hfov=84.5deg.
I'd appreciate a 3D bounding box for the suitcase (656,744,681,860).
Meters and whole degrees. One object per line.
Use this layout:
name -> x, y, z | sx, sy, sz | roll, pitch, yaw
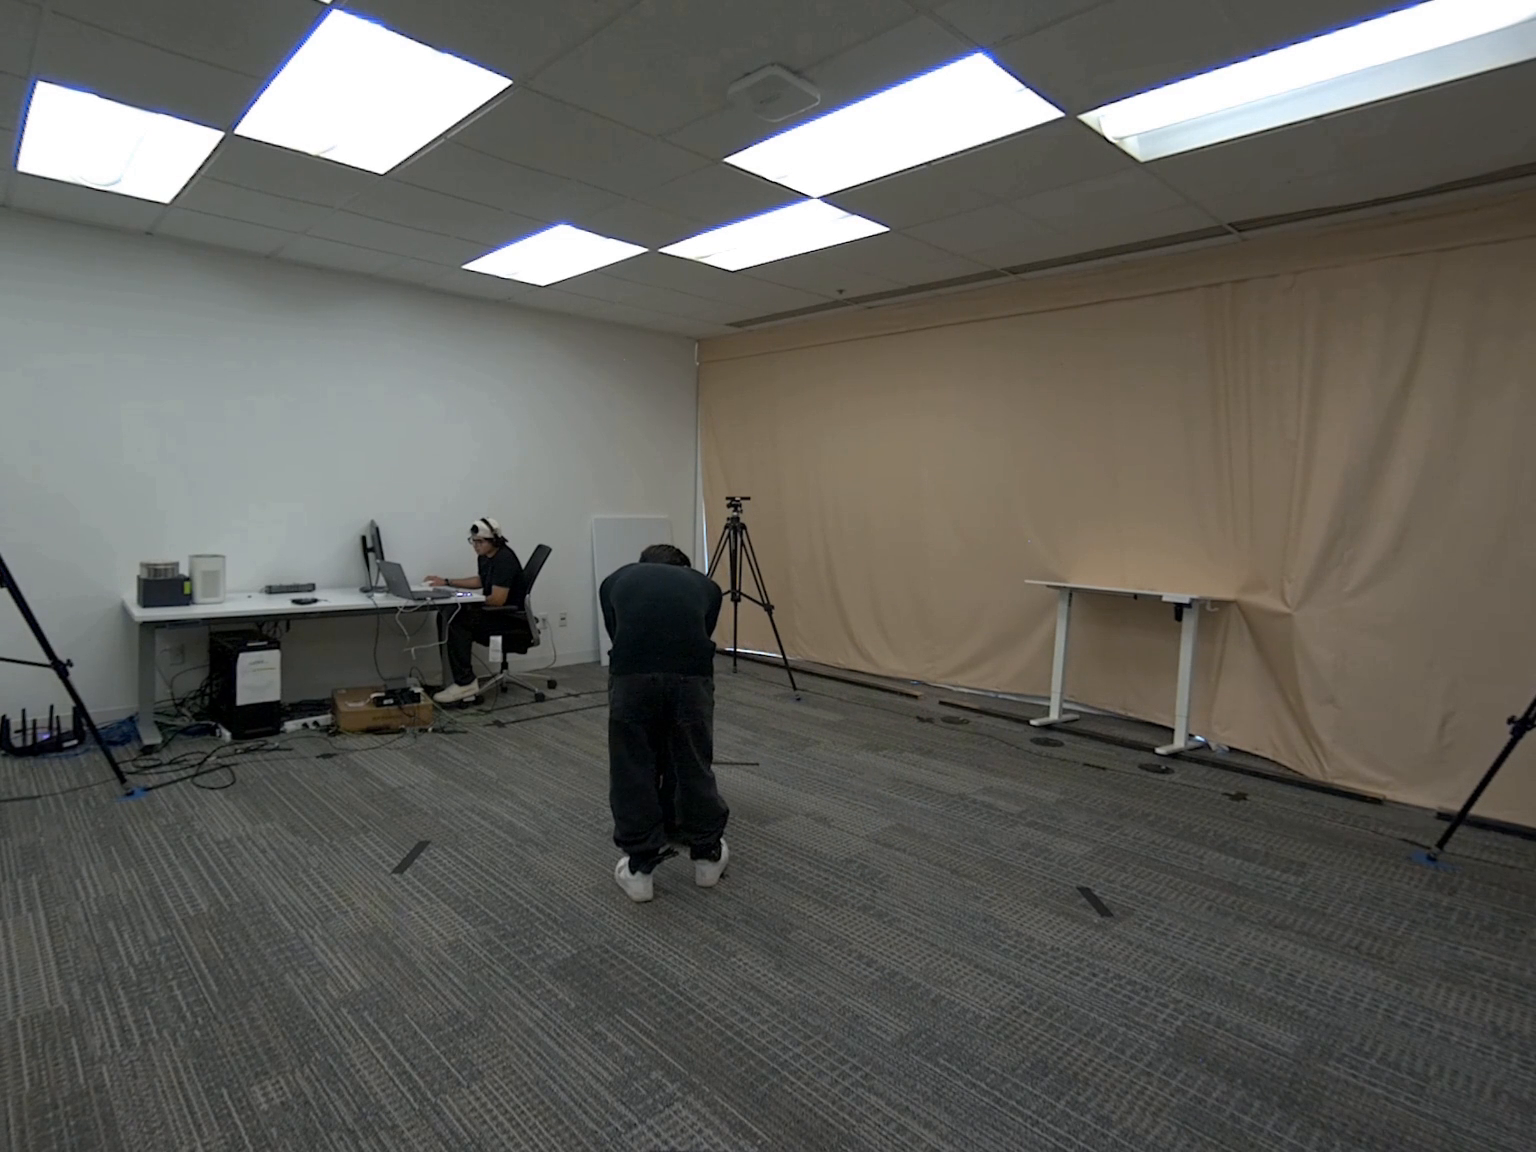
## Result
suitcase -> -0.408, 0.790, 3.506 | 0.250, 0.548, 0.373 | 4, 5, 8
